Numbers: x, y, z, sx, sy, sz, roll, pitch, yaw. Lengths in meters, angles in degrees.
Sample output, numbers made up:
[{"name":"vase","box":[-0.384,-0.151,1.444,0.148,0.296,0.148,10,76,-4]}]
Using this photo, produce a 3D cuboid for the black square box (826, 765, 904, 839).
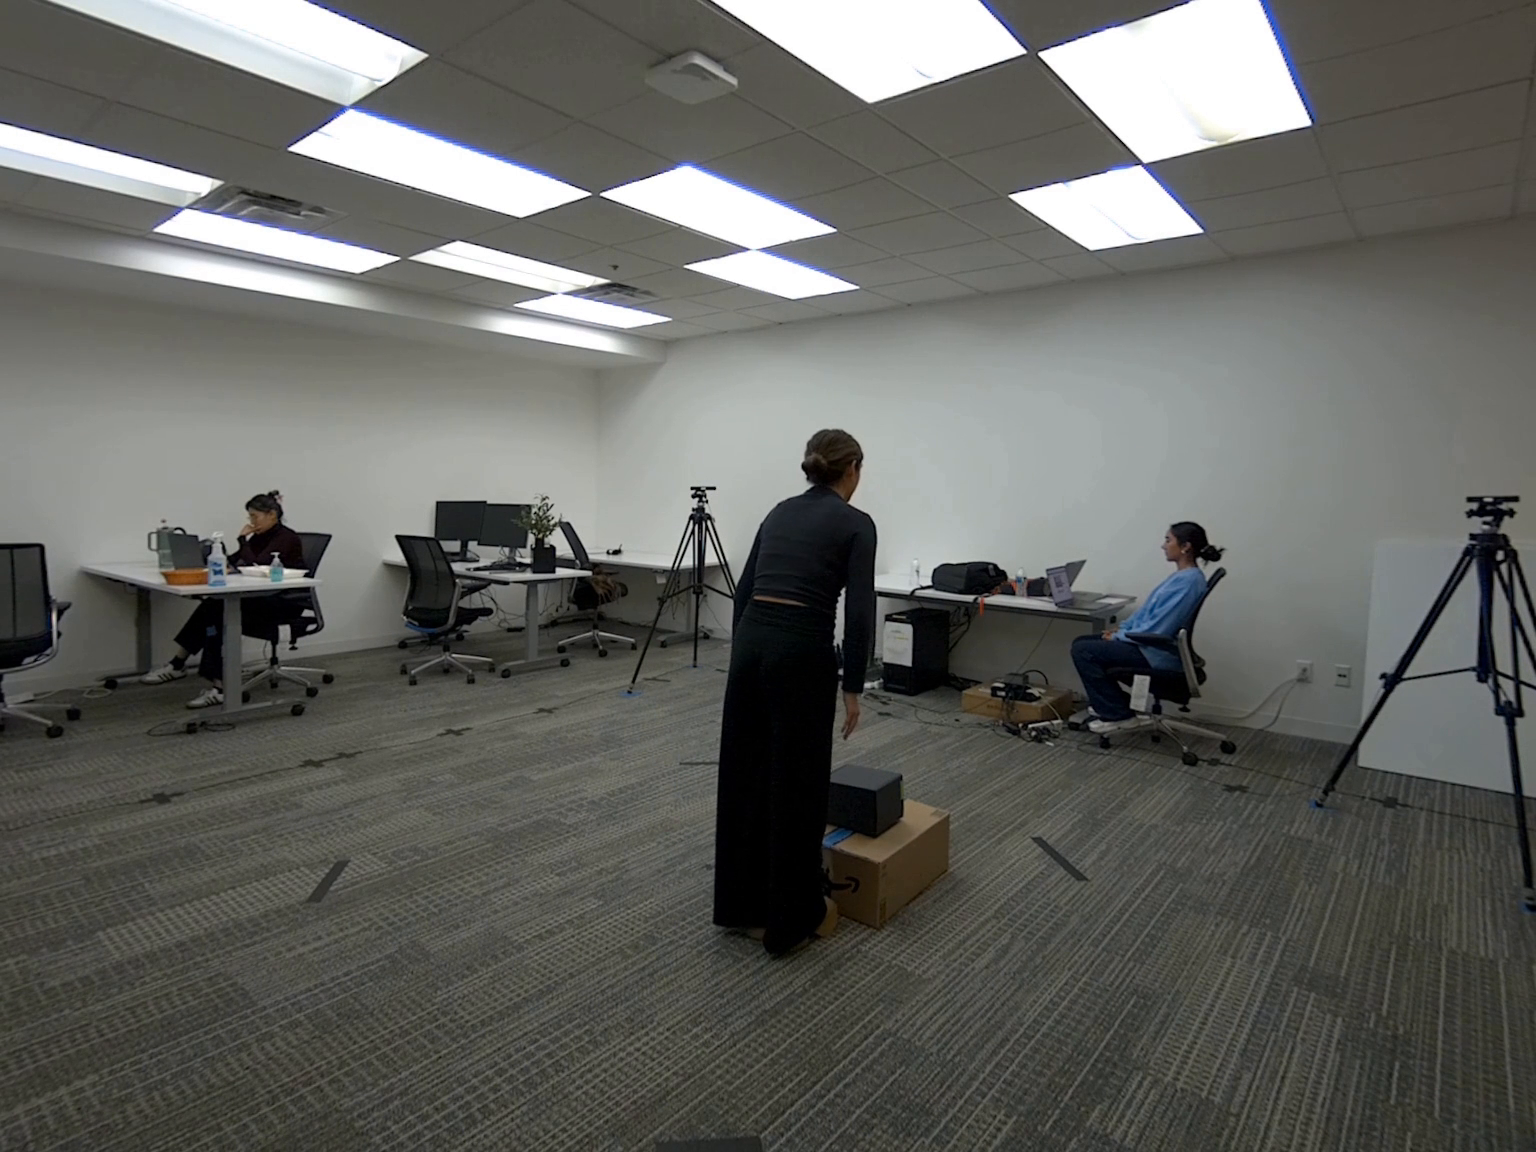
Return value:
[{"name":"black square box","box":[0.323,0.783,3.004,0.235,0.155,0.211,2,5,35]}]
